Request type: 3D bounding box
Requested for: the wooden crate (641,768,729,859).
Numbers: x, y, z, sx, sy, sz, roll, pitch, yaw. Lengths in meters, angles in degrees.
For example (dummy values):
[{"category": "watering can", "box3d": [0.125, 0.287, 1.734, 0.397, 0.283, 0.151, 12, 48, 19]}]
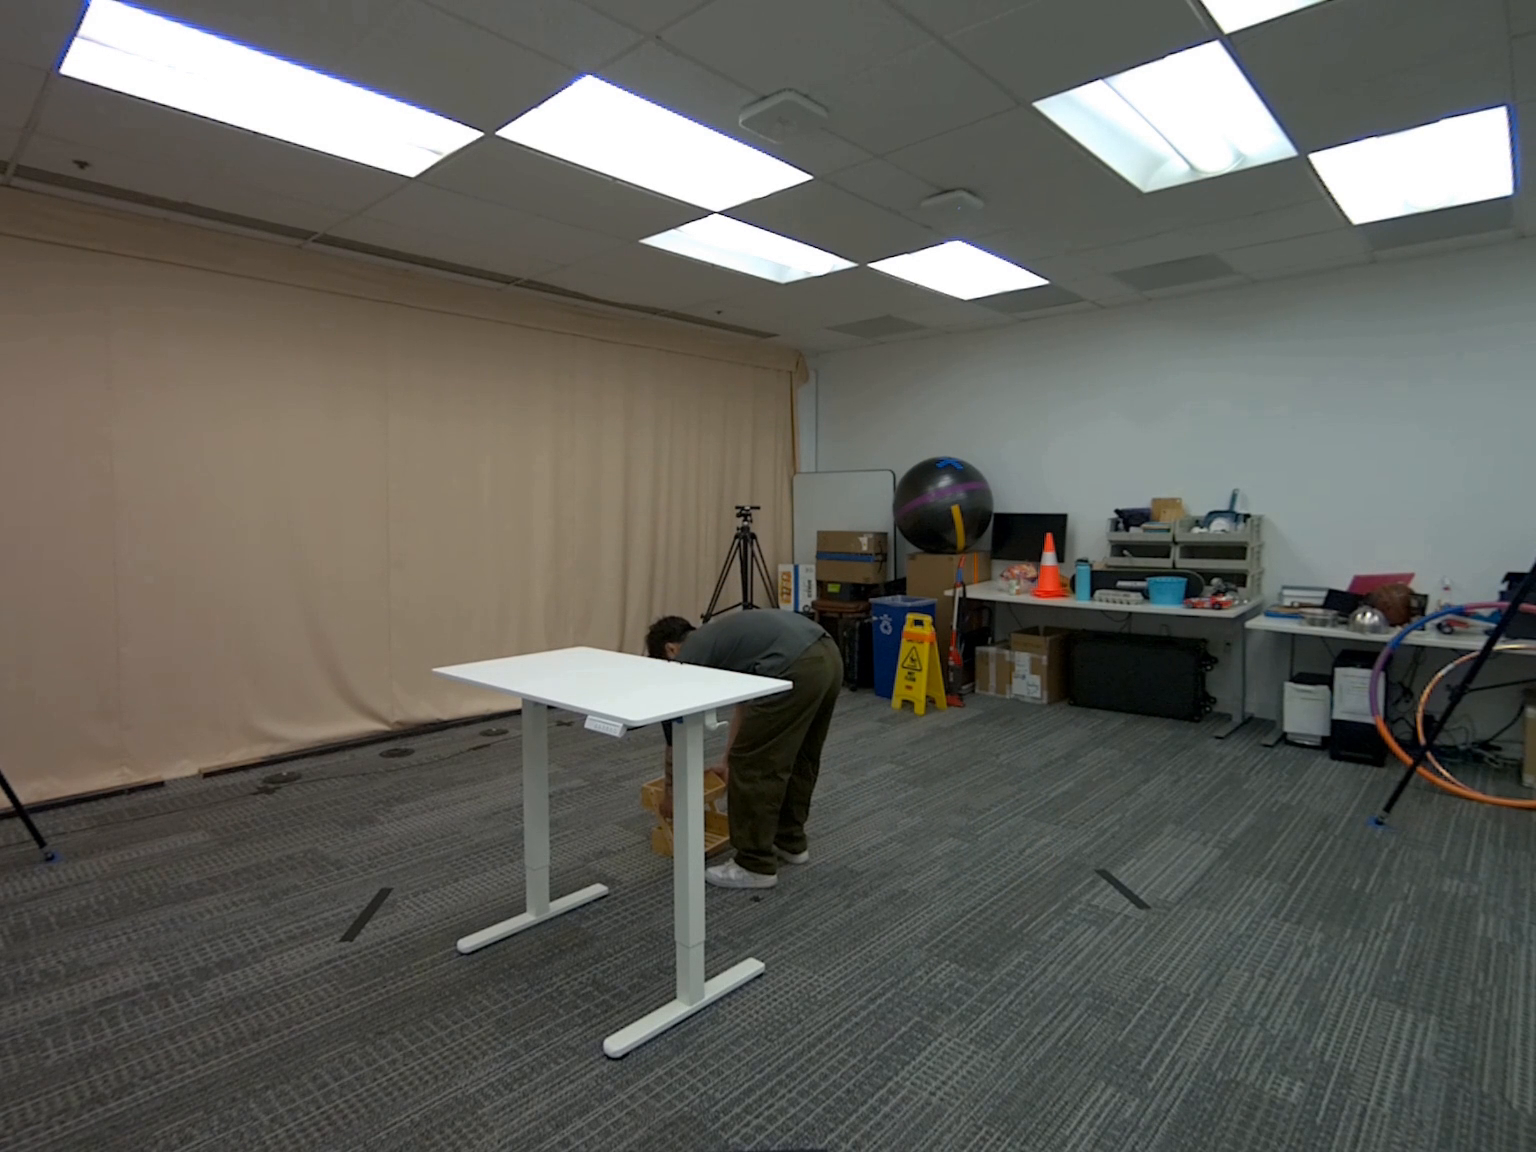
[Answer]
[{"category": "wooden crate", "box3d": [-0.308, 0.973, 3.466, 0.311, 0.273, 0.315, 0, 4, 36]}]
